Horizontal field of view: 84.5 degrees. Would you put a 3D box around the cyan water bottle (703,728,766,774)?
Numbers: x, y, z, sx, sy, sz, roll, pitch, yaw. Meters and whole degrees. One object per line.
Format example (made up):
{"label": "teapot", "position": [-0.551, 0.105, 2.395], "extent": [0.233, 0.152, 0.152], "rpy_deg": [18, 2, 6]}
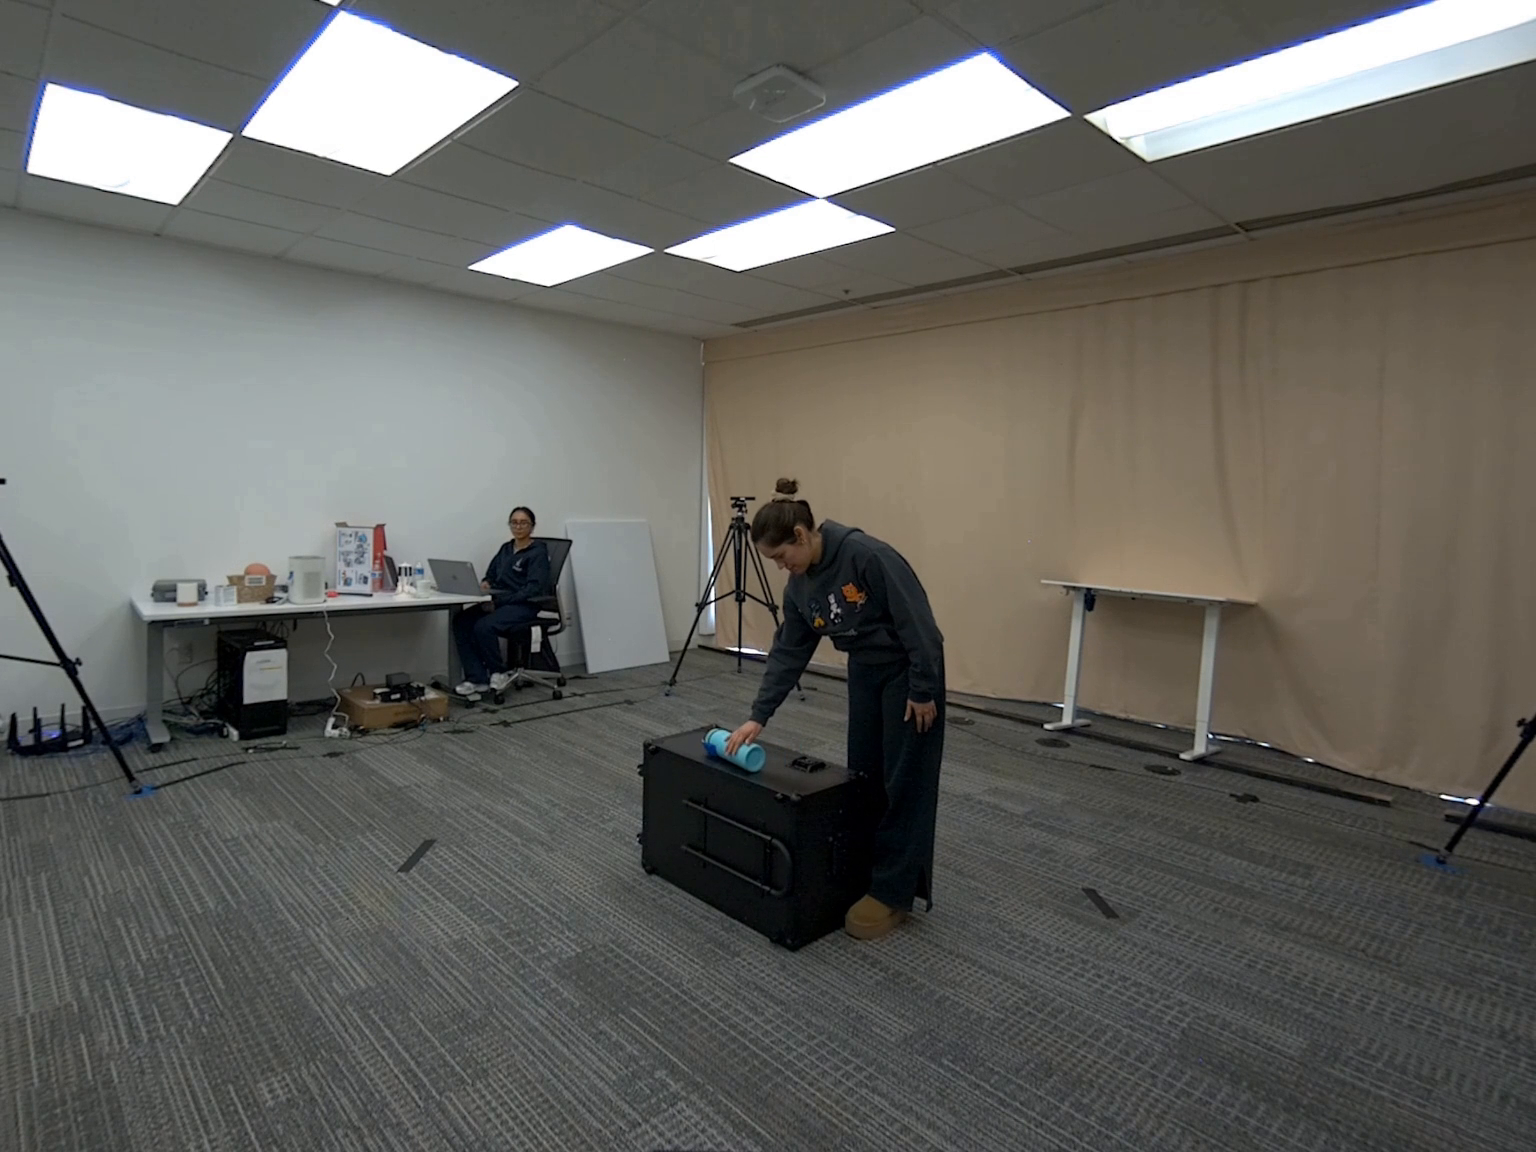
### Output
{"label": "cyan water bottle", "position": [-0.123, 0.592, 2.928], "extent": [0.090, 0.092, 0.290], "rpy_deg": [-2, 7, -36]}
